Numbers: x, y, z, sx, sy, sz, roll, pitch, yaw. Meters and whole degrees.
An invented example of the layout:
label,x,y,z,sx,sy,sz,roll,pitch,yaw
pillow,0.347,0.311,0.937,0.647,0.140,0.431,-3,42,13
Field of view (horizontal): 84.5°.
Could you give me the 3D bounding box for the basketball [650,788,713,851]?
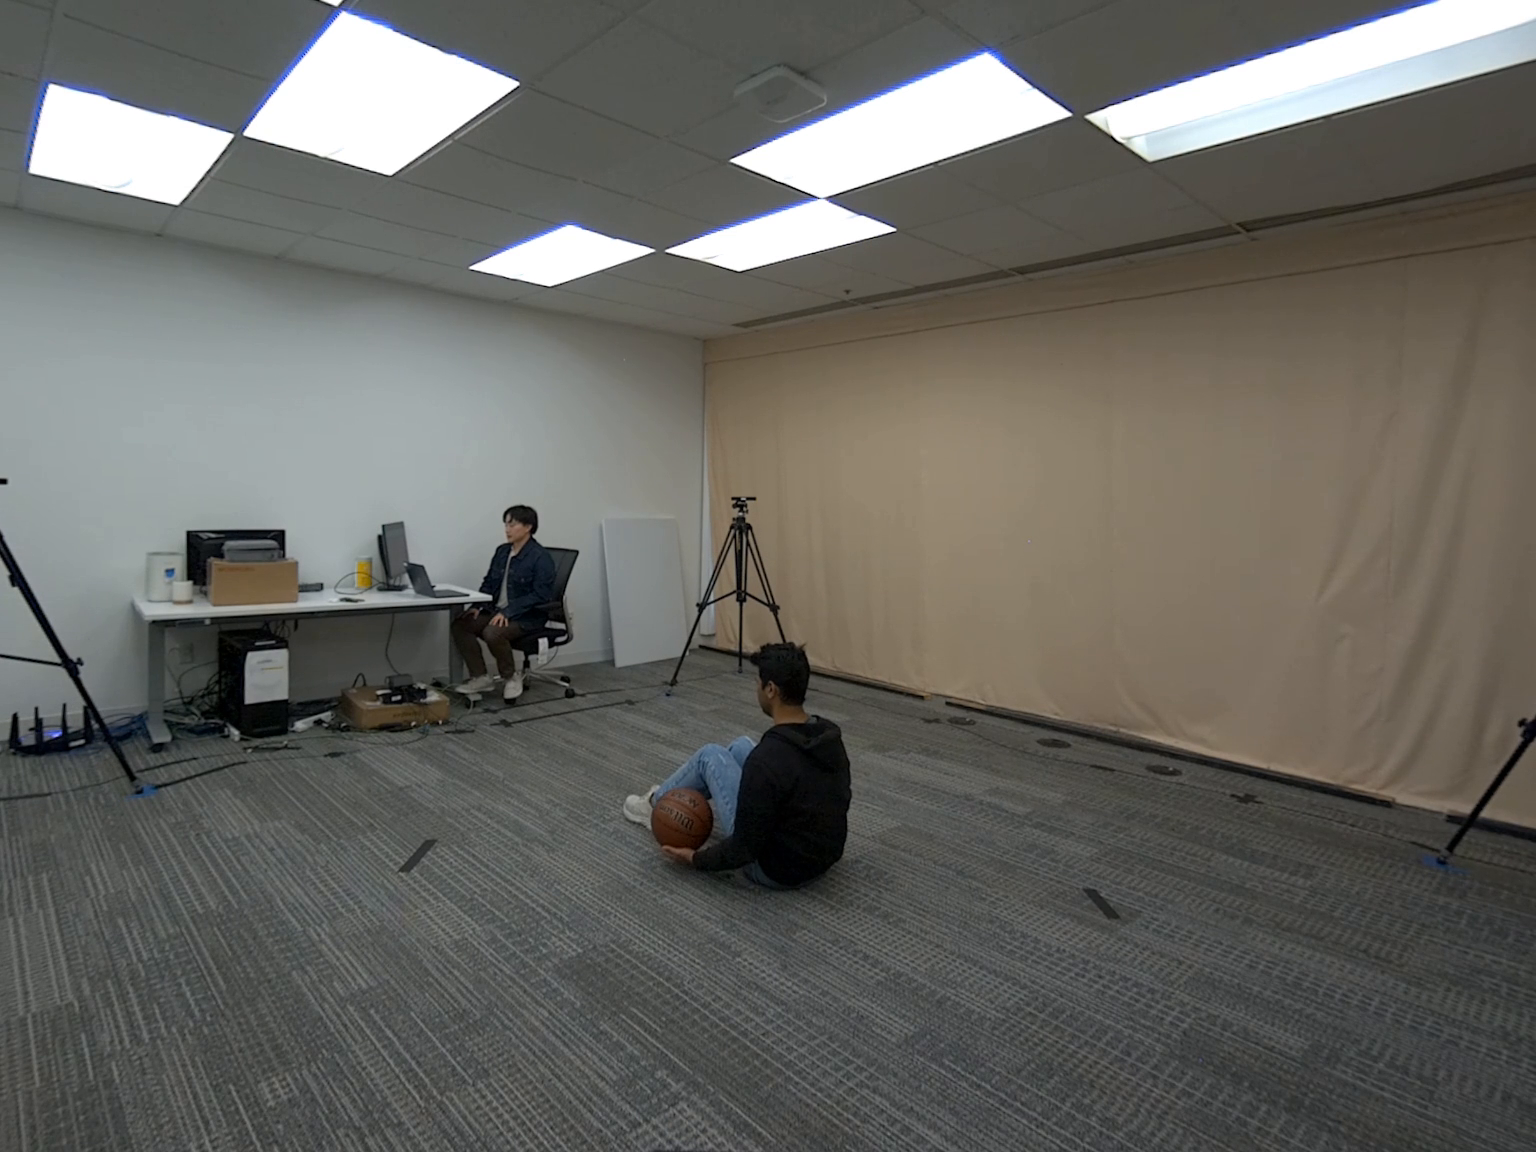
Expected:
label,x,y,z,sx,sy,sz,roll,pitch,yaw
basketball,-0.339,0.908,3.199,0.236,0.235,0.237,1,4,-1
